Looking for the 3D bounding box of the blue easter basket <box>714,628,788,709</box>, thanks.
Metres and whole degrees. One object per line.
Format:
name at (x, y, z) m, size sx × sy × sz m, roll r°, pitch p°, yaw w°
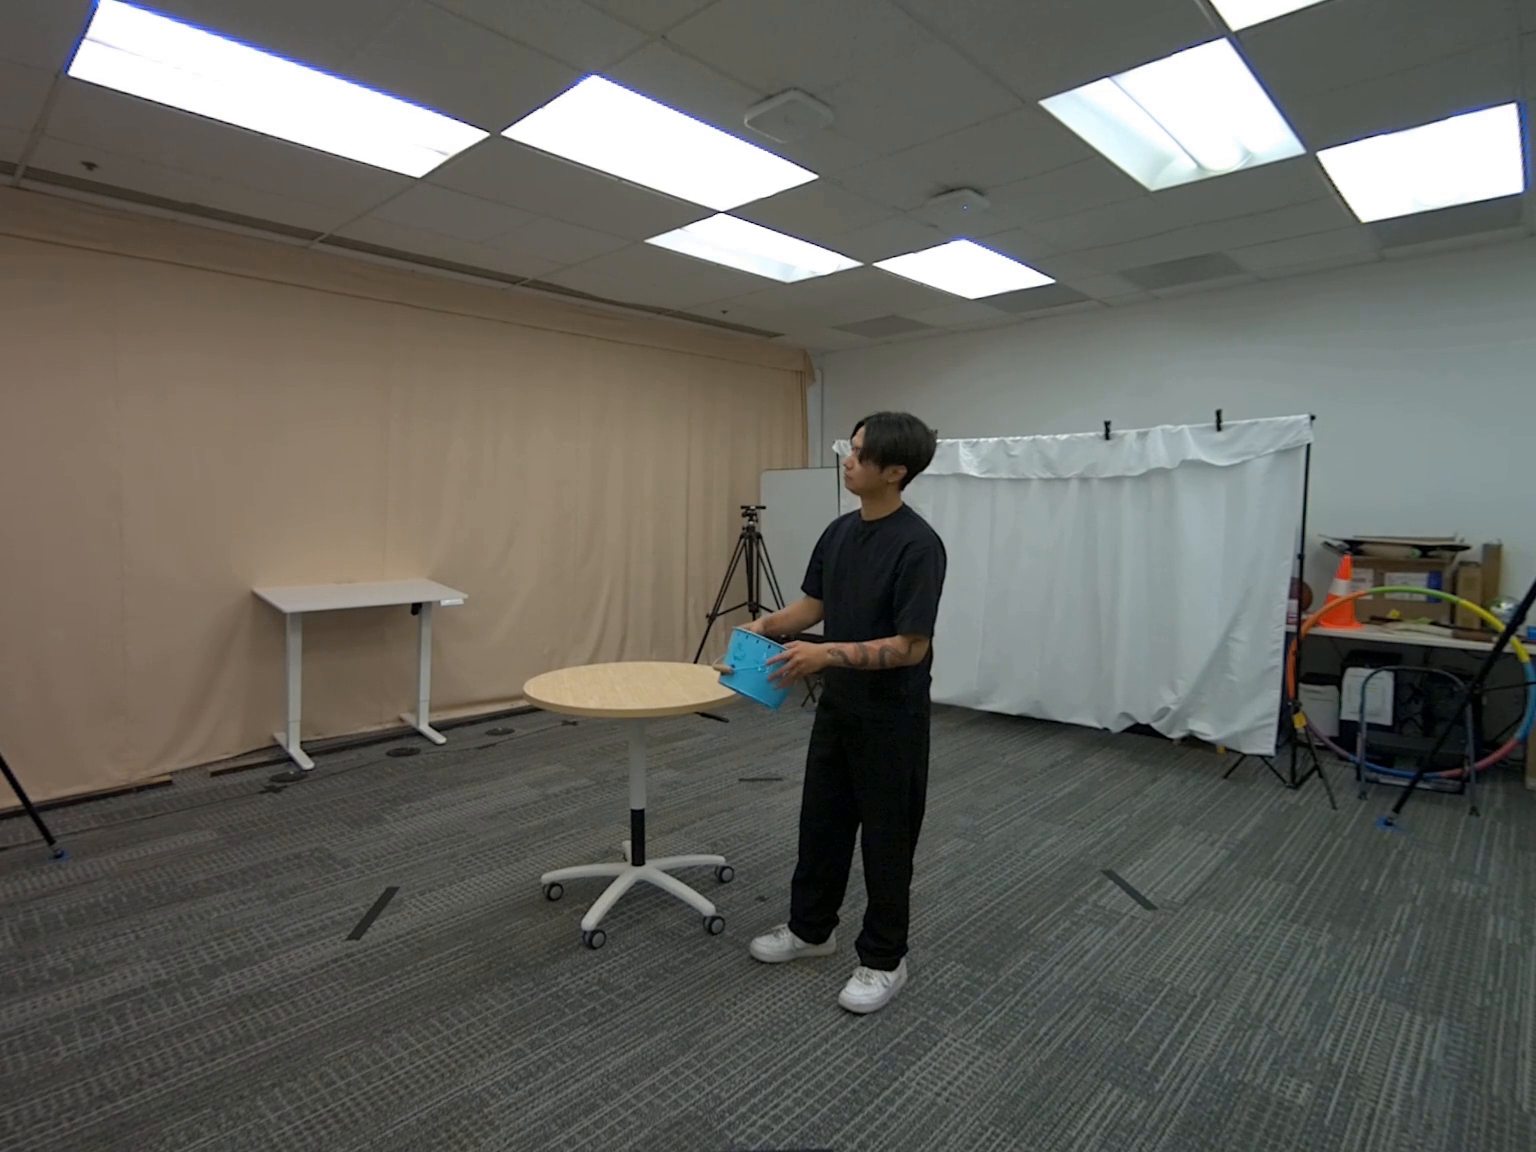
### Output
blue easter basket at (-0.020, 0.266, 2.285) m, size 0.245 × 0.156 × 0.242 m, roll 25°, pitch -9°, yaw 2°
